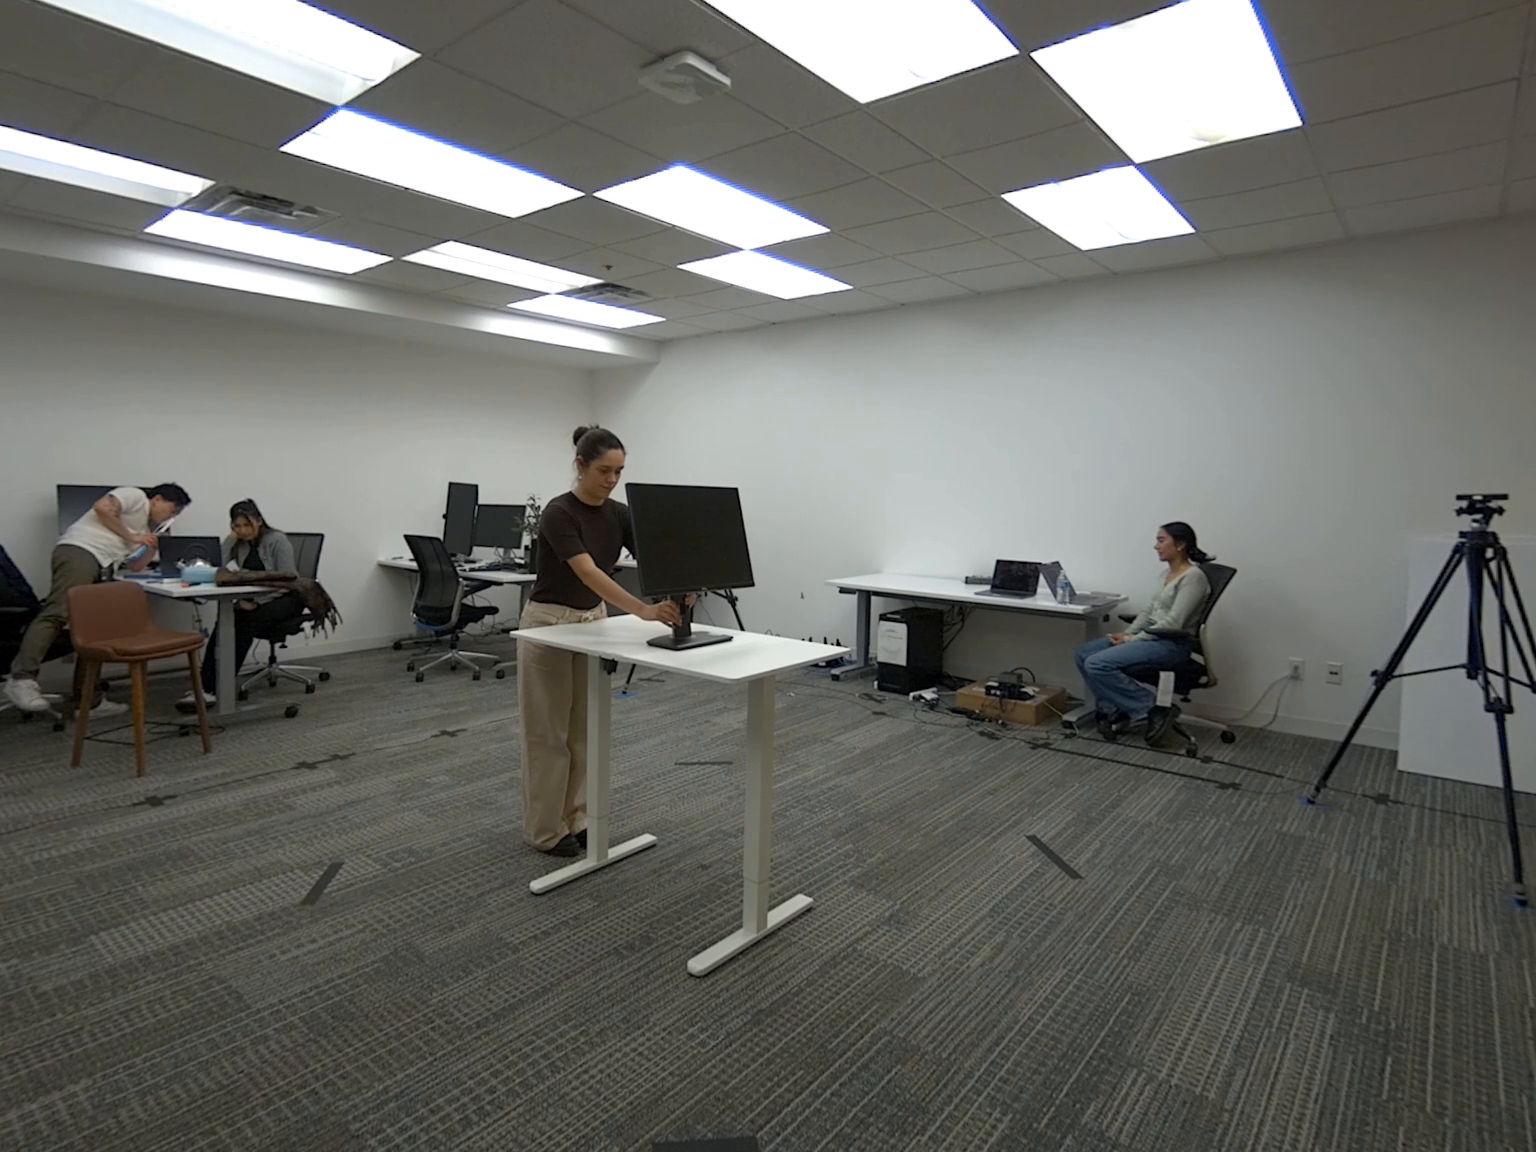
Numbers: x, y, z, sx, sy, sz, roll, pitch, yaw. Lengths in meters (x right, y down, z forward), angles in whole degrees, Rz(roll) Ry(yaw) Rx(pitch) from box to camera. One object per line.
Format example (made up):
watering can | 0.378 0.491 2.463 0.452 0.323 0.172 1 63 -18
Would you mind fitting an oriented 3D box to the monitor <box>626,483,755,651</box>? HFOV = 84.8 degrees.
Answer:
monitor | -0.275 -0.039 2.774 0.180 0.514 0.514 7 5 36
